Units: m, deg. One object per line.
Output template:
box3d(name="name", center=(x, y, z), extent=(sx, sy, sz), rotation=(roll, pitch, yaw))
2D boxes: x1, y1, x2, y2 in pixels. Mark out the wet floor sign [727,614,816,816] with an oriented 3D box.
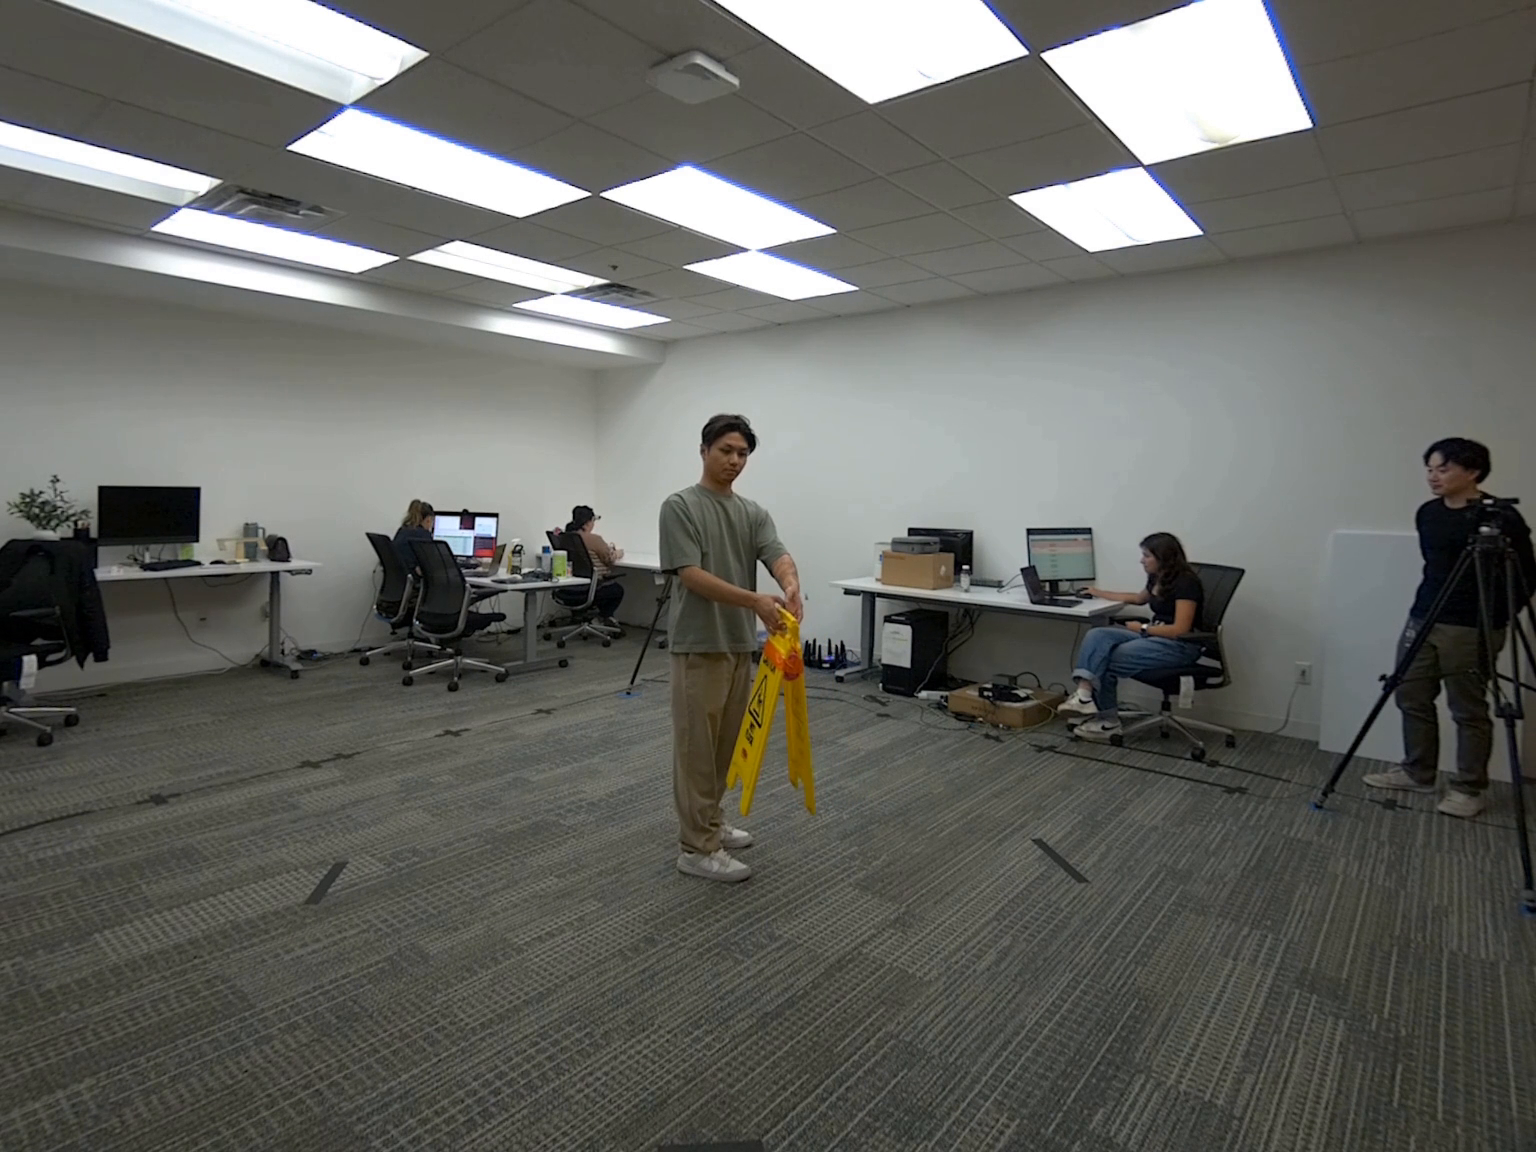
box3d(name="wet floor sign", center=(0.021, 0.442, 2.858), extent=(0.285, 0.643, 0.288), rotation=(4, 6, -14))
